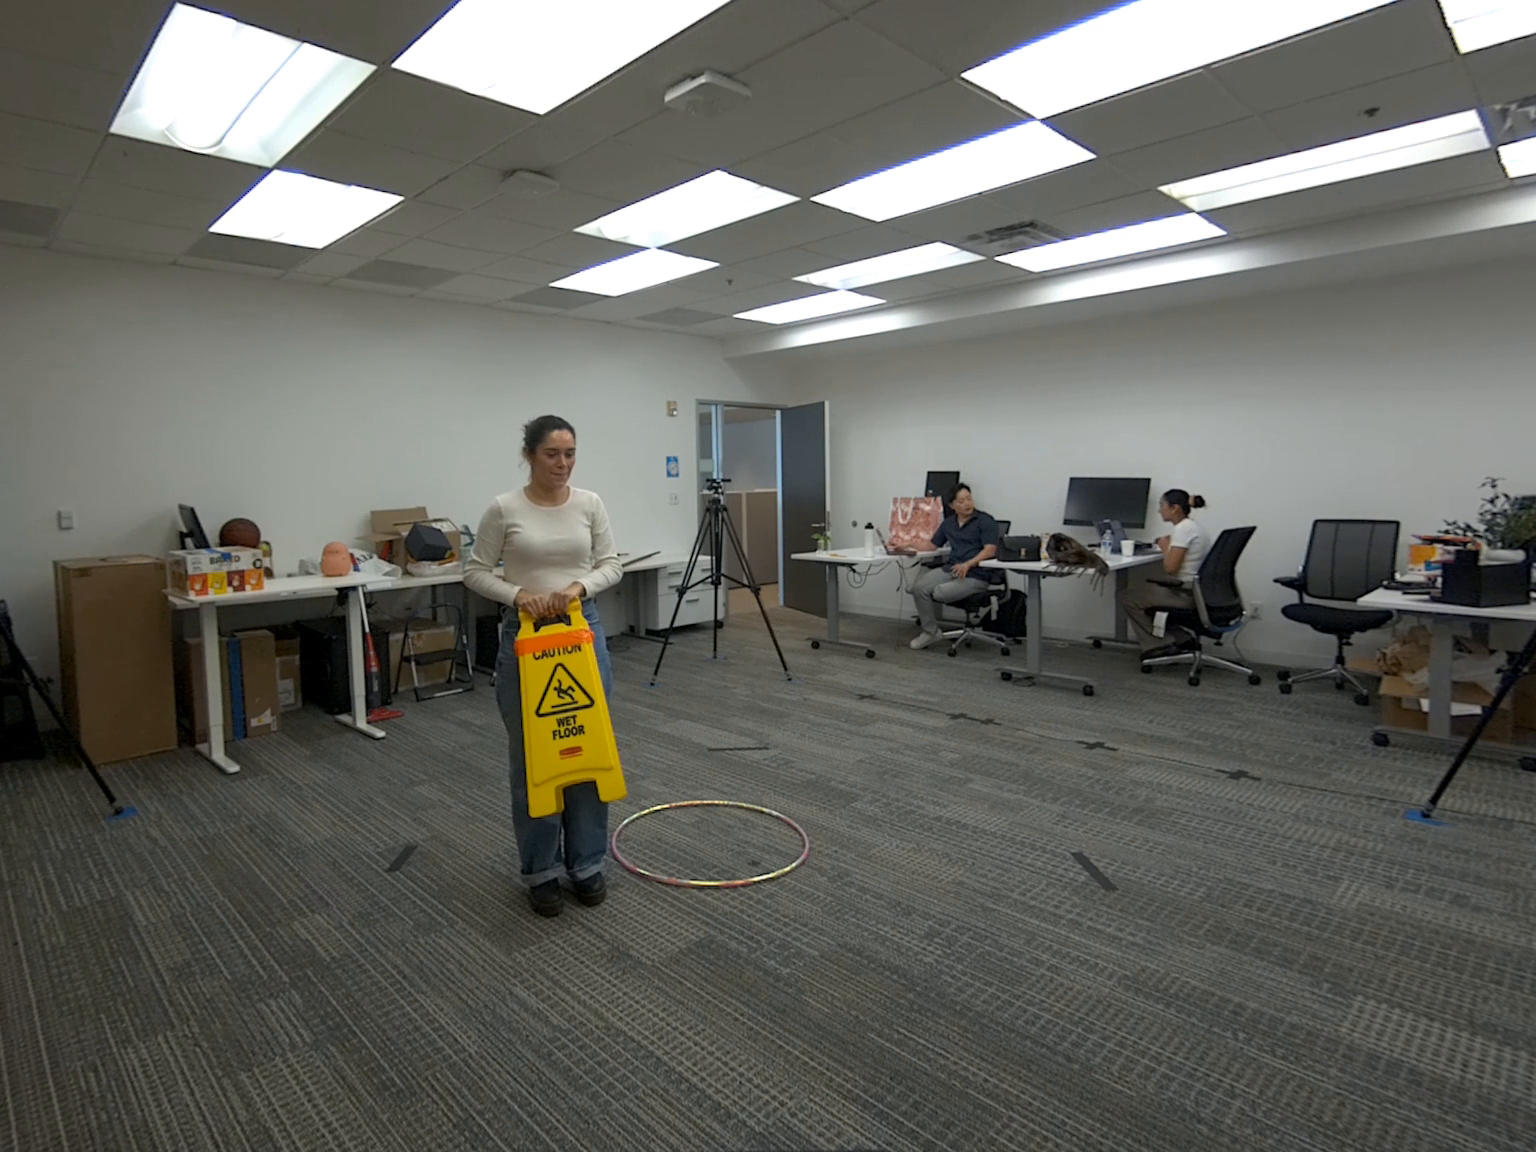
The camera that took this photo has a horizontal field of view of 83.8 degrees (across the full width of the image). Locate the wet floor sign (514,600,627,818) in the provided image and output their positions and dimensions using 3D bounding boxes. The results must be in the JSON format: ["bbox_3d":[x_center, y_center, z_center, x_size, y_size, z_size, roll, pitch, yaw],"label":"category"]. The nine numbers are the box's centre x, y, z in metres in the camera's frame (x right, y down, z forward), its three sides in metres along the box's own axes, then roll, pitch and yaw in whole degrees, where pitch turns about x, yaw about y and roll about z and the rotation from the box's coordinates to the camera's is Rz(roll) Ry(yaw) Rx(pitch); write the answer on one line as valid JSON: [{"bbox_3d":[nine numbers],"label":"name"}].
[{"bbox_3d":[-0.640,0.402,2.666,0.280,0.656,0.287,-11,-14,-10],"label":"wet floor sign"}]
